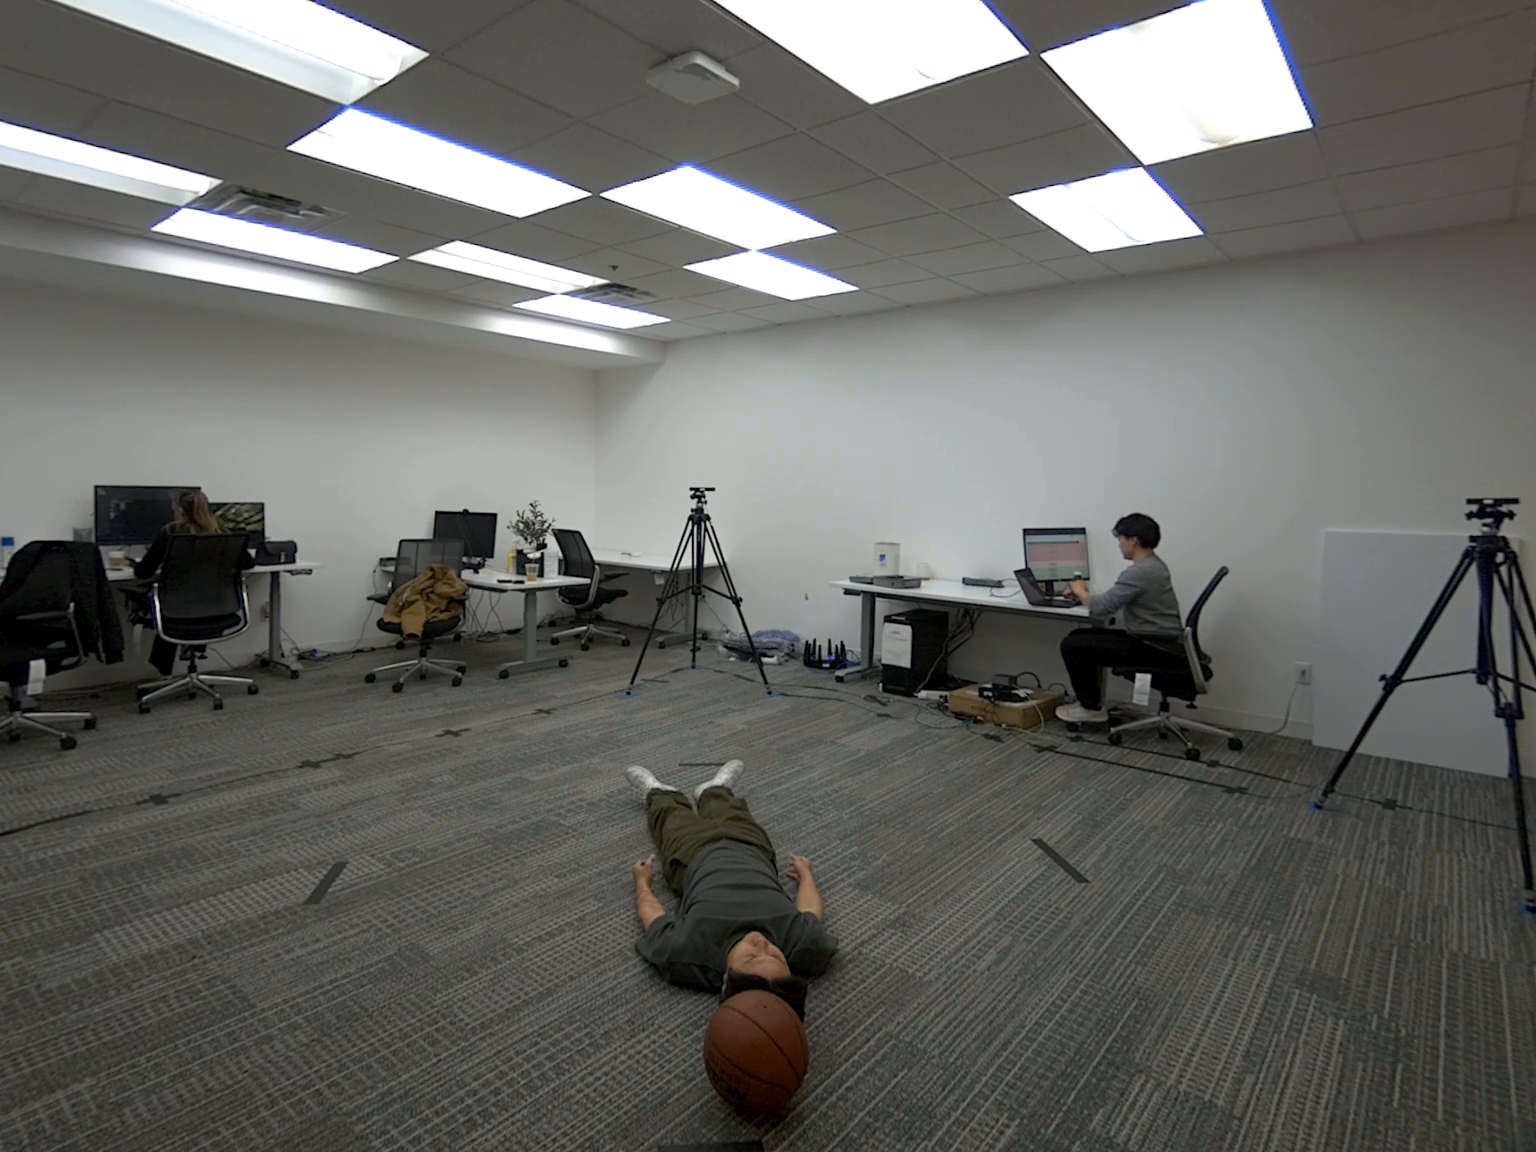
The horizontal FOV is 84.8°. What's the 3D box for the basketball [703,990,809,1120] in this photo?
[{"bbox_3d":[-0.033,1.066,1.932,0.235,0.235,0.237,1,4,-2],"label":"basketball"}]
